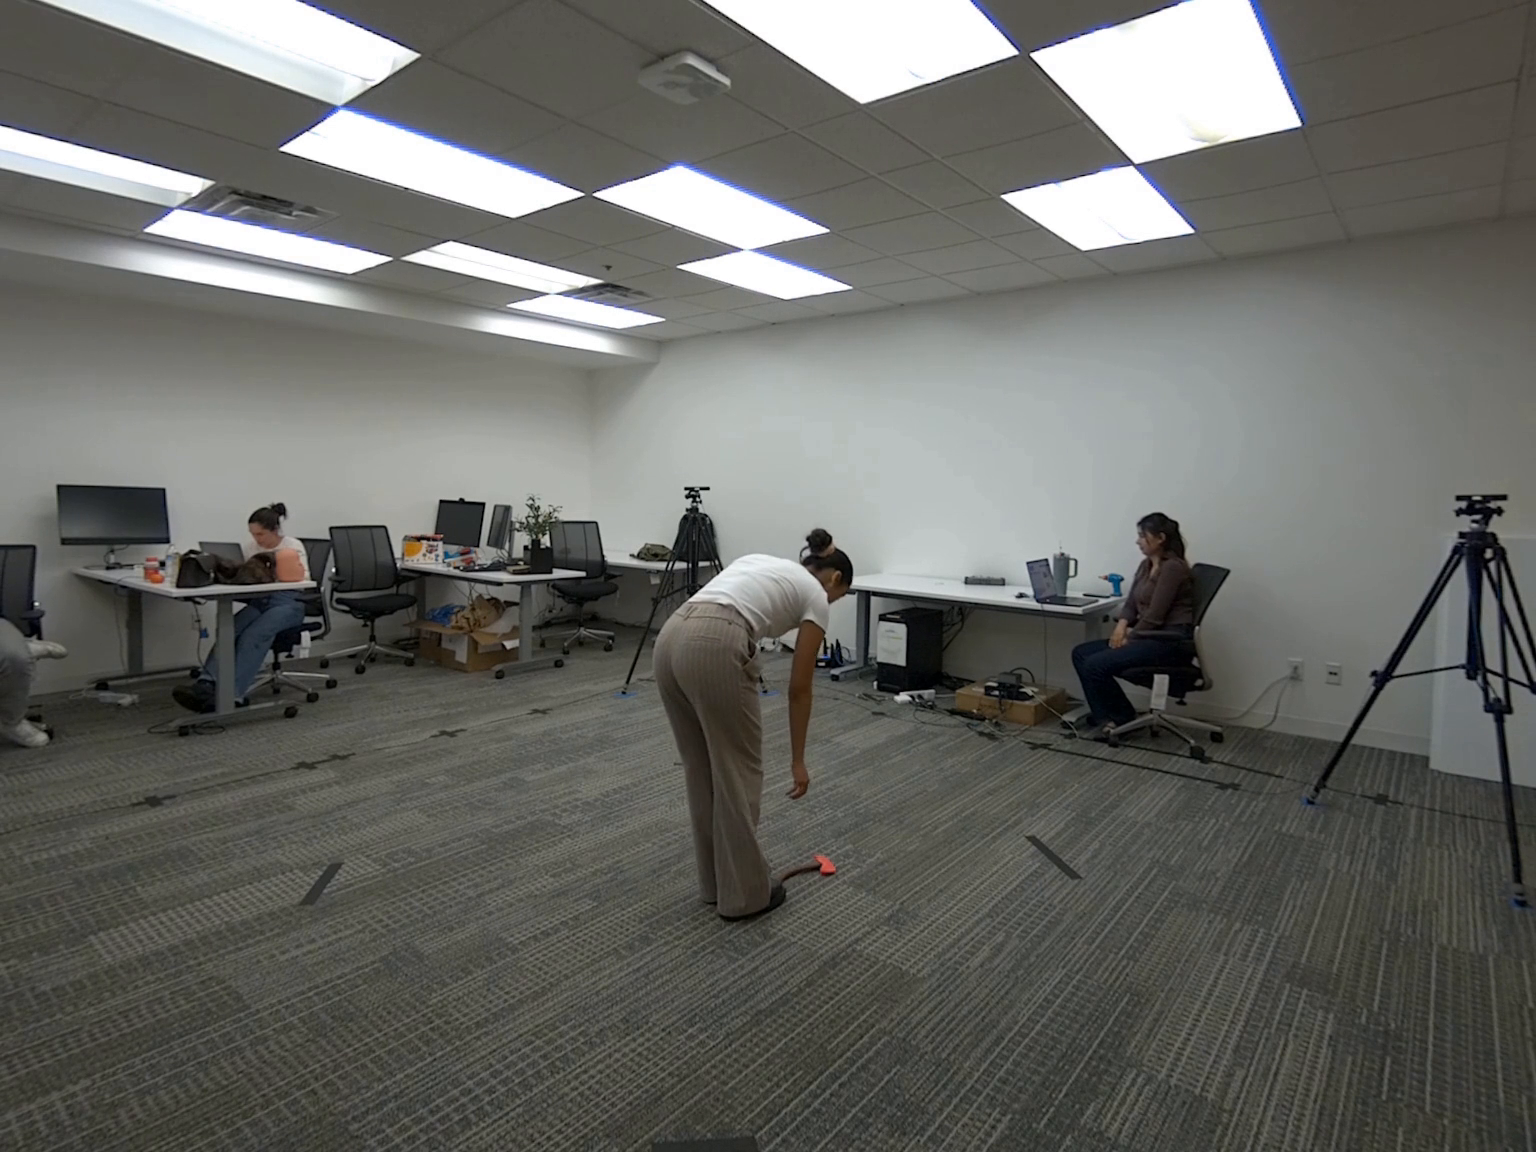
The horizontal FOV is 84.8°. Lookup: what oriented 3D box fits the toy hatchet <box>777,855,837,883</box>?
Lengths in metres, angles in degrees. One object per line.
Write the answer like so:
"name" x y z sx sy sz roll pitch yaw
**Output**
"toy hatchet" 0.135 1.064 3.060 0.136 0.029 0.262 9 11 41
